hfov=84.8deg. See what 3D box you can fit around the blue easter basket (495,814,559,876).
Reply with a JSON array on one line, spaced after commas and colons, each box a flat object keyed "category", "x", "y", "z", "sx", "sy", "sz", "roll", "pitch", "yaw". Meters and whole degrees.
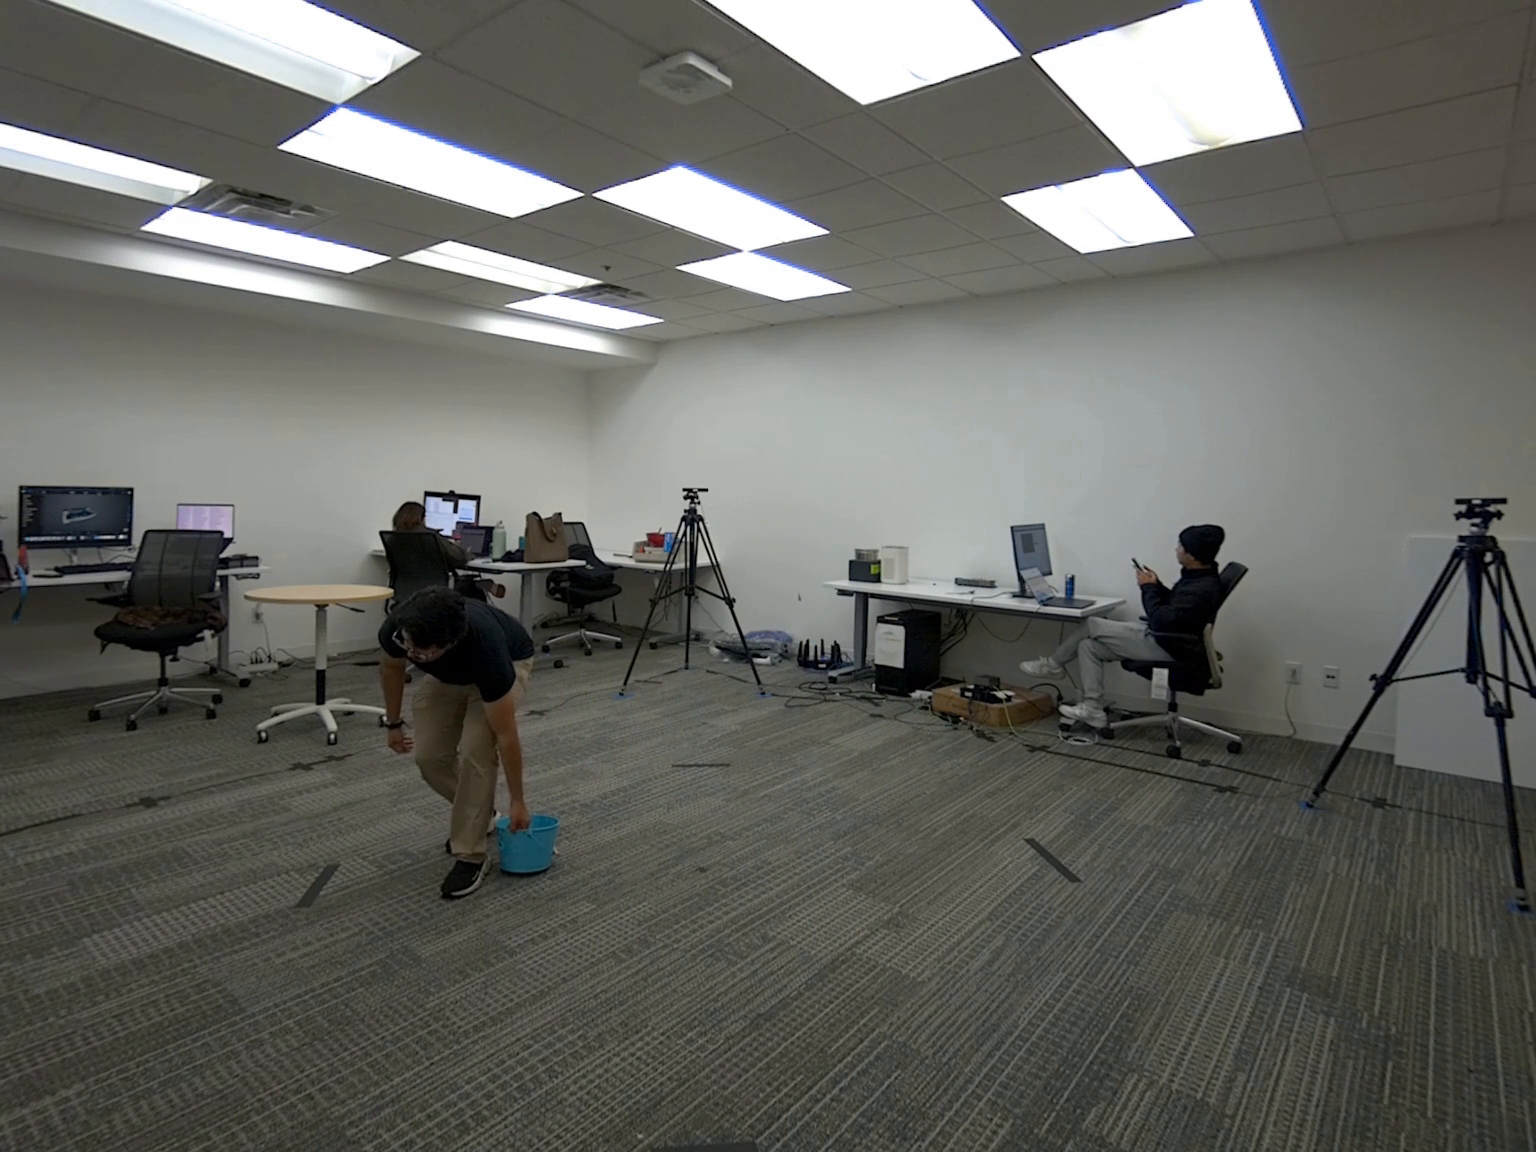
[{"category": "blue easter basket", "x": -0.891, "y": 0.977, "z": 3.095, "sx": 0.243, "sy": 0.156, "sz": 0.243, "roll": 2, "pitch": -2, "yaw": -2}]
